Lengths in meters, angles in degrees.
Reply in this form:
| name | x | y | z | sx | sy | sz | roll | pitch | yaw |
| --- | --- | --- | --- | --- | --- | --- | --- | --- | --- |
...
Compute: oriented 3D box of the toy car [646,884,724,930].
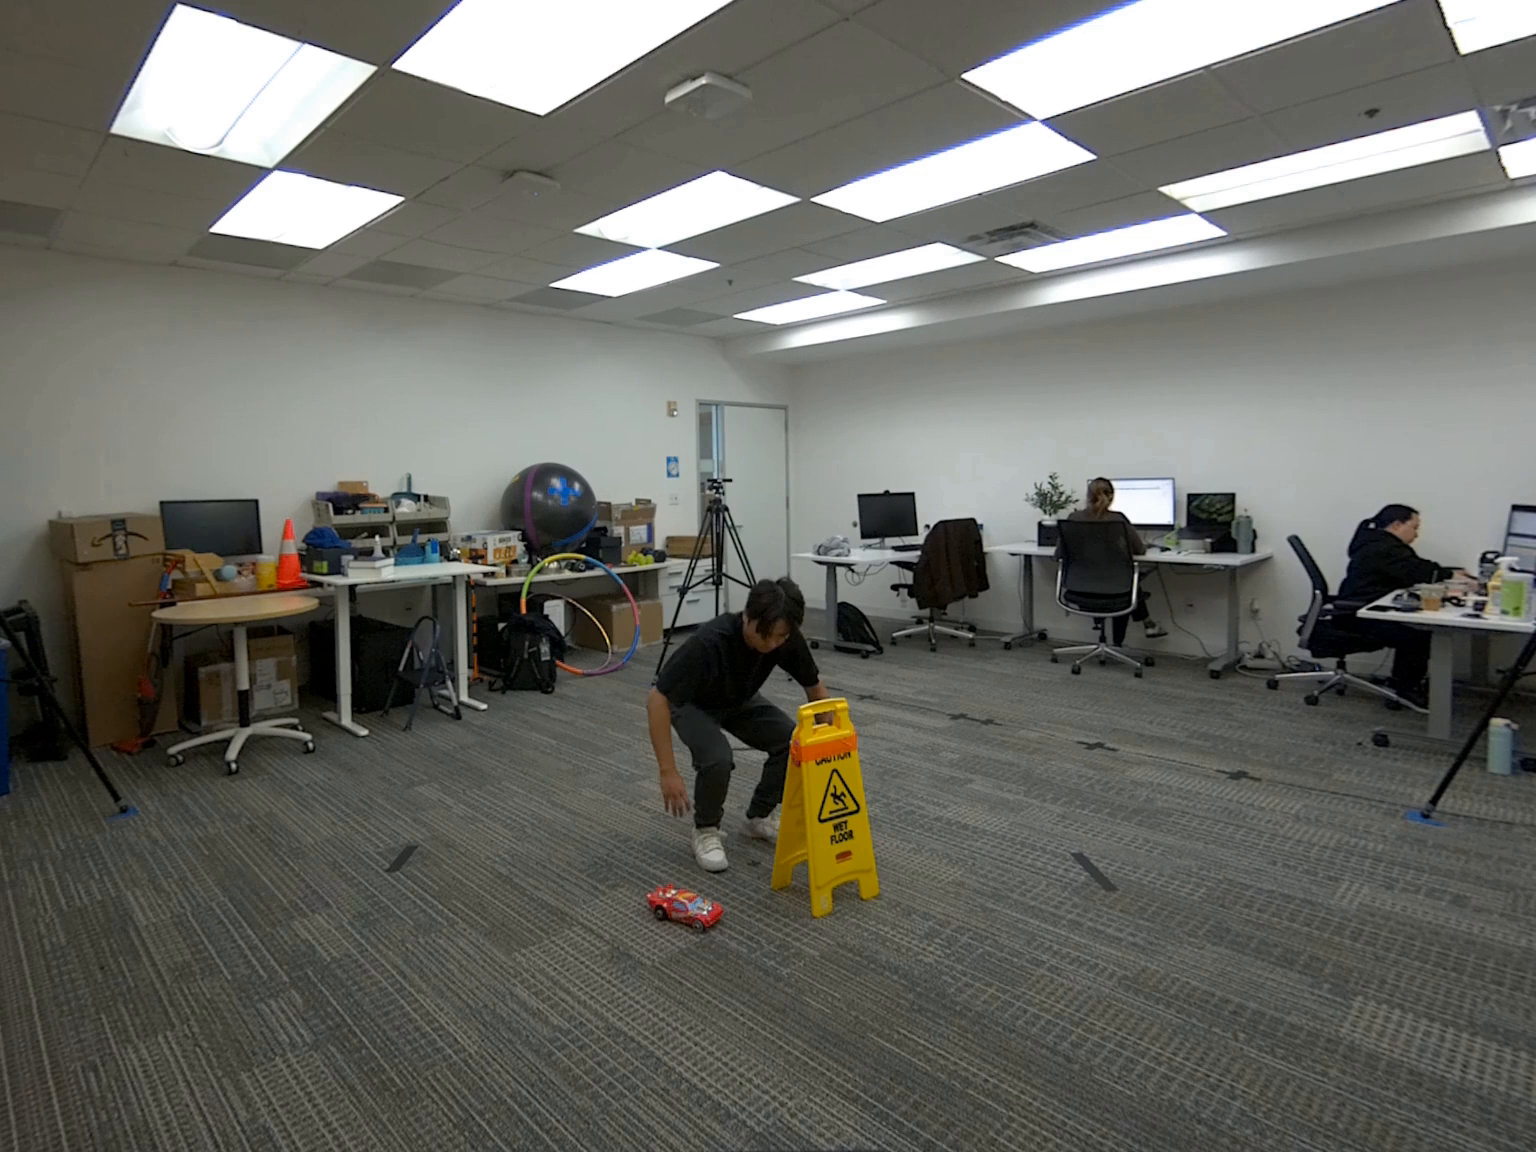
| name | x | y | z | sx | sy | sz | roll | pitch | yaw |
| --- | --- | --- | --- | --- | --- | --- | --- | --- | --- |
| toy car | -0.270 | 1.064 | 2.731 | 0.262 | 0.082 | 0.127 | 15 | 13 | 30 |
